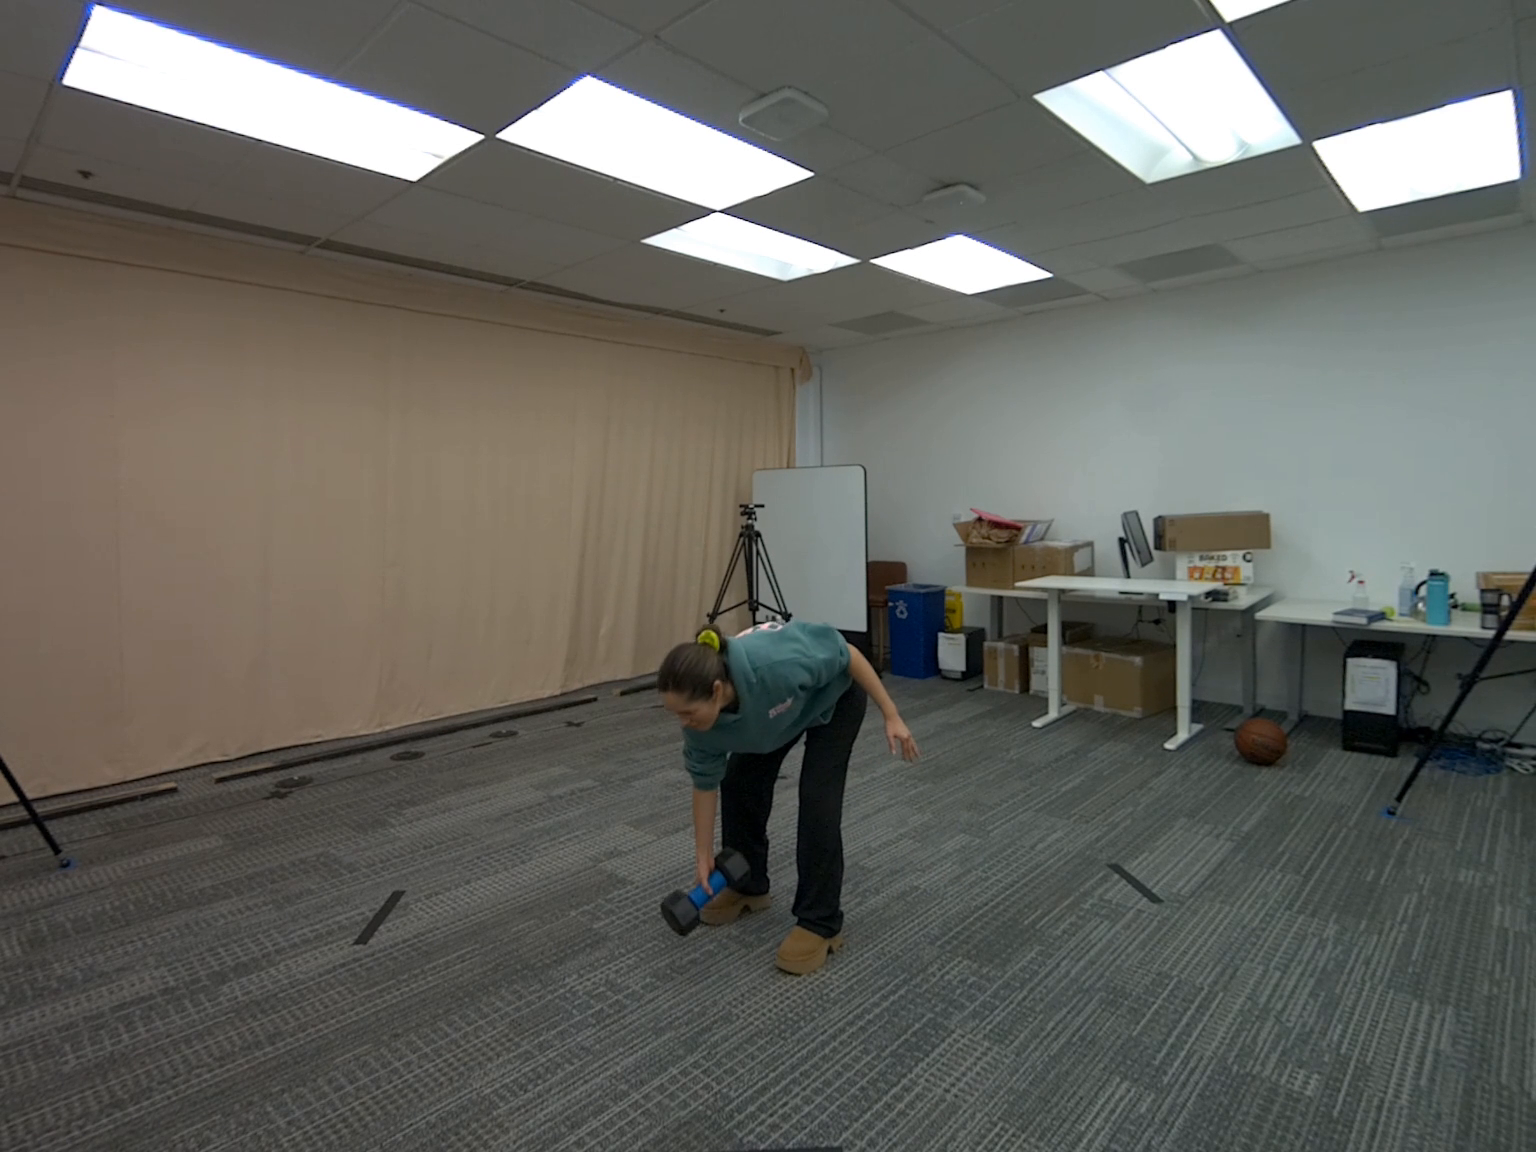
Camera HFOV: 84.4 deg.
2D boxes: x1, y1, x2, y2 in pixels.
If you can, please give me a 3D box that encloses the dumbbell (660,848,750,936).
[{"bbox_3d":[-0.185,0.962,2.599,0.288,0.107,0.126,-28,14,-31],"label":"dumbbell"}]
